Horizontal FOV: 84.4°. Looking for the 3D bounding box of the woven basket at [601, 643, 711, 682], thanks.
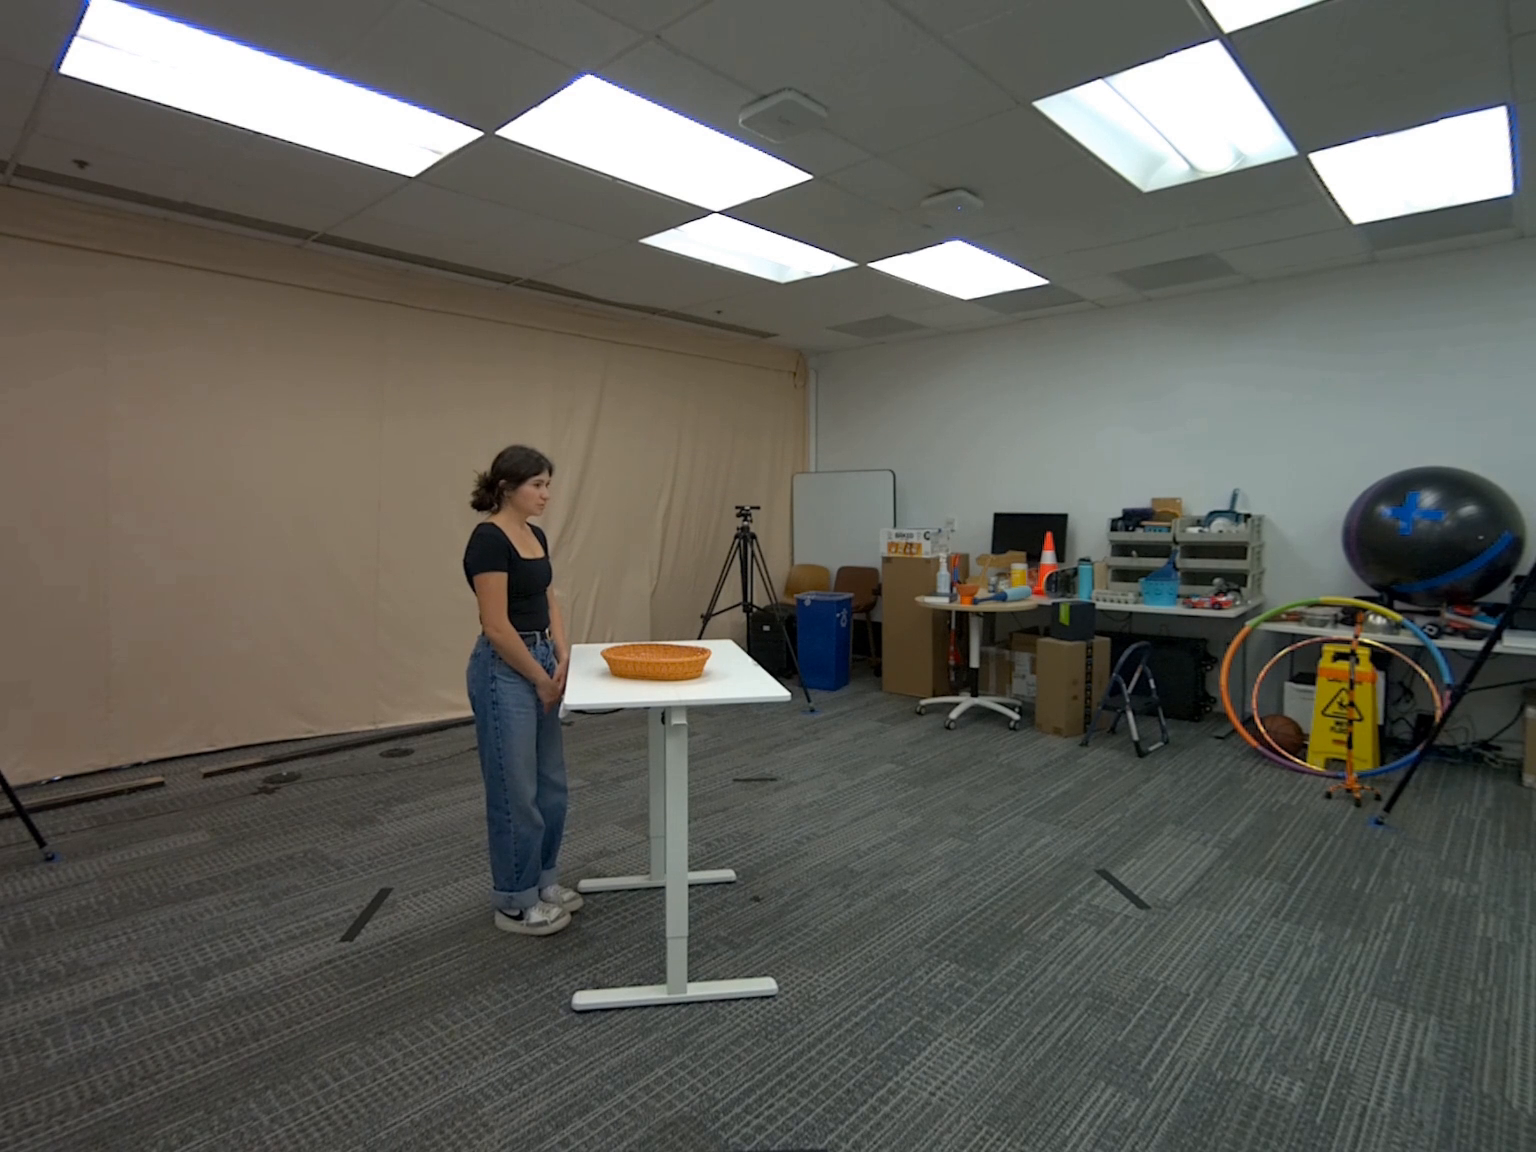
[{"bbox_3d":[-0.340,0.272,2.530,0.356,0.073,0.249,0,5,13],"label":"woven basket"}]
